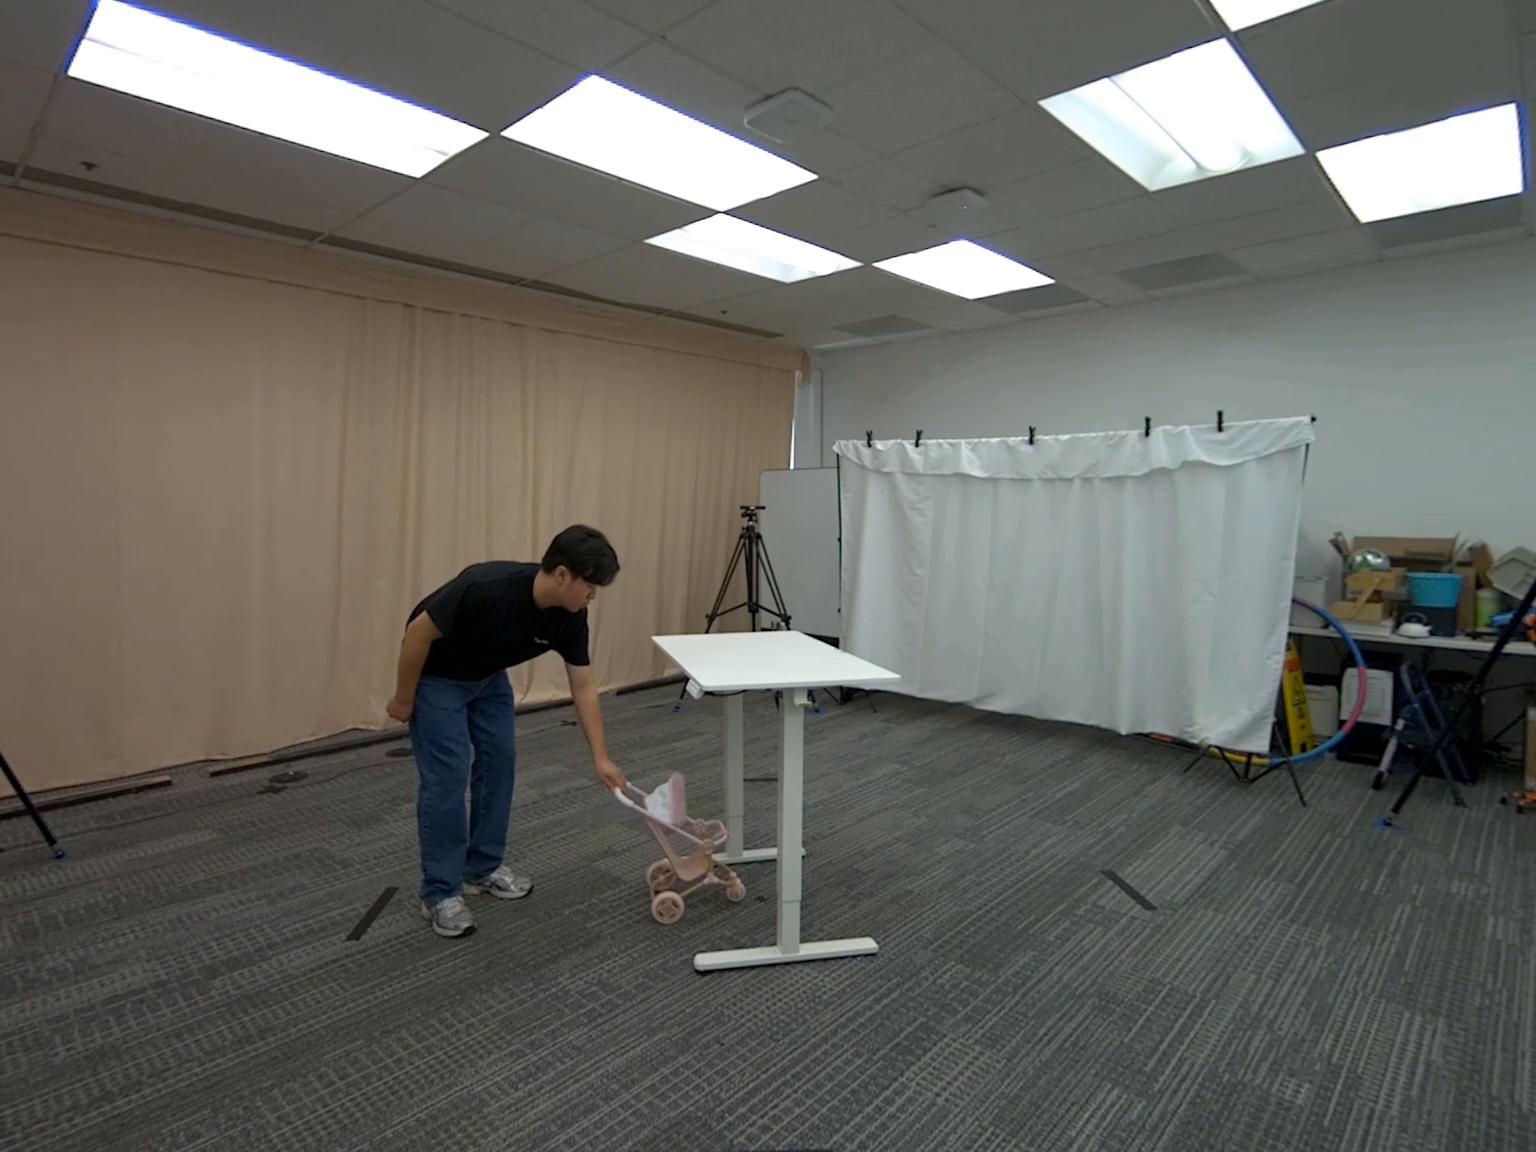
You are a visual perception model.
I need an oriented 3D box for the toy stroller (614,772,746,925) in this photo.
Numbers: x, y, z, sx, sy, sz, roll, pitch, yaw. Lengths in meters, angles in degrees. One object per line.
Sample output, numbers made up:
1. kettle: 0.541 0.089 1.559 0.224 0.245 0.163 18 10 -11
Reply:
1. toy stroller: -0.298 0.928 2.924 0.340 0.533 0.283 -16 5 -4
